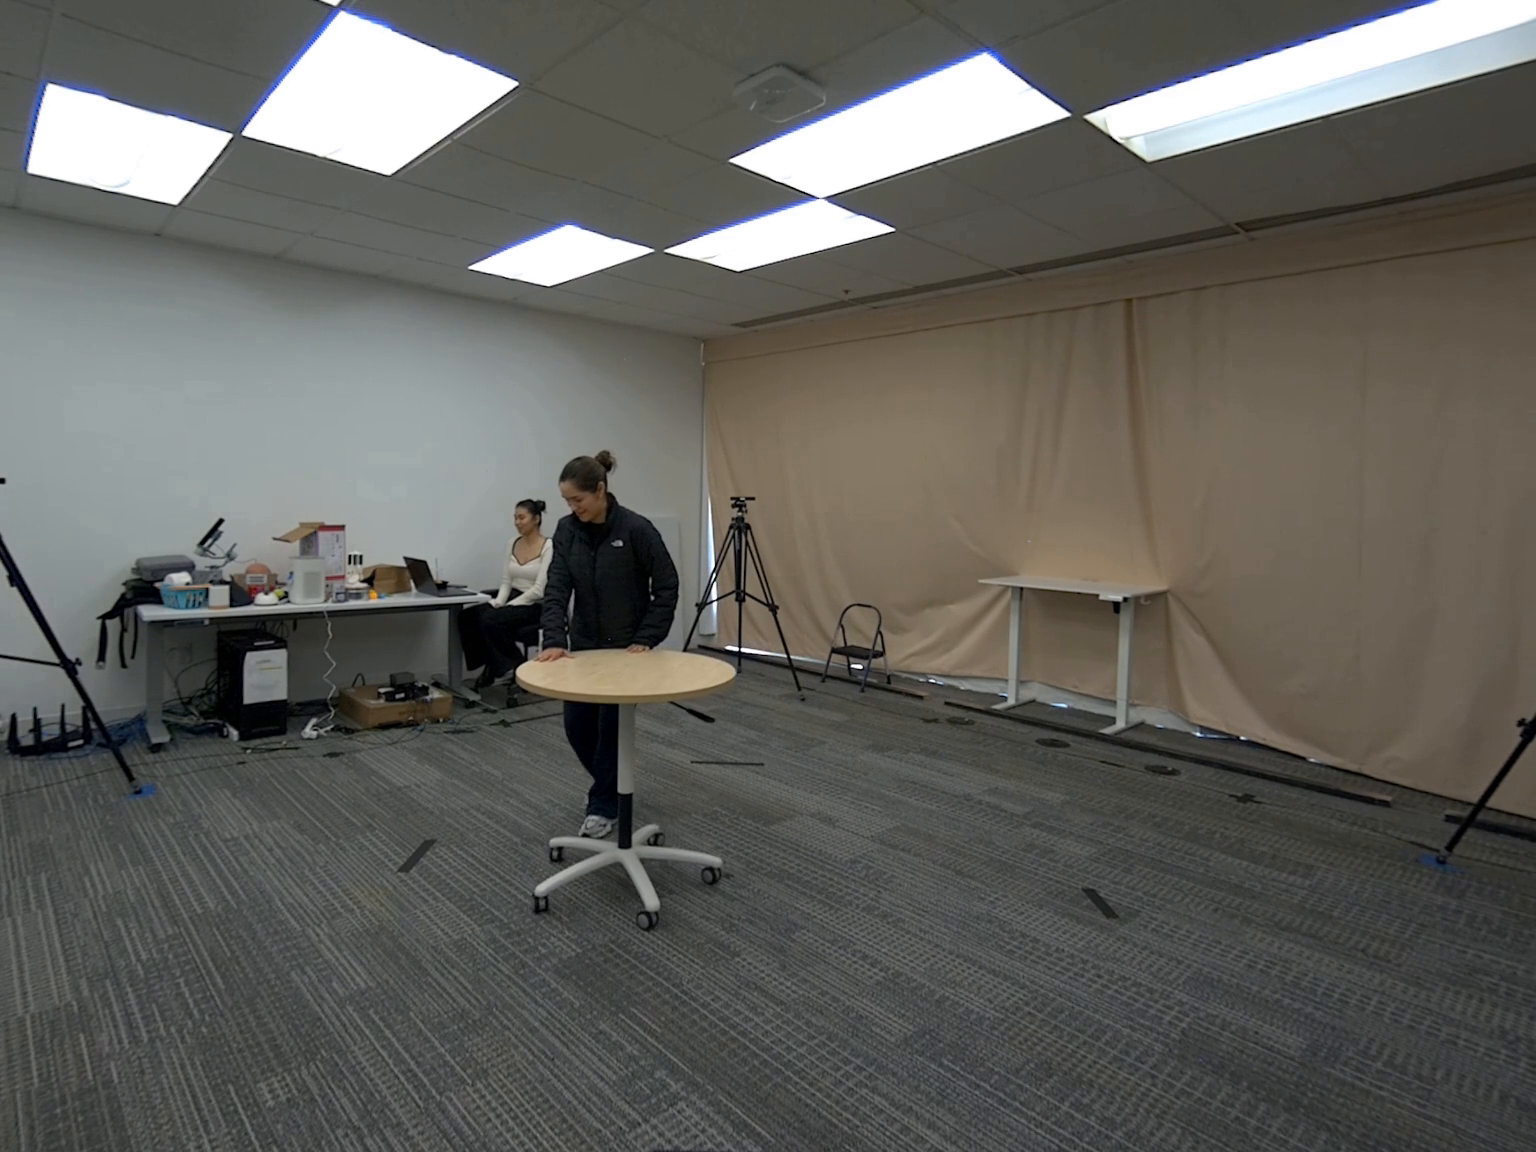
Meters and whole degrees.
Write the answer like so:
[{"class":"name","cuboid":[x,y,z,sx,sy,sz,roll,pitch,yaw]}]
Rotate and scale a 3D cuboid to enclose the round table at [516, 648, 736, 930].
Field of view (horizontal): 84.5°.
[{"class":"round table","cuboid":[-0.518,0.719,2.987,0.784,0.784,0.788,1,4,-1]}]
